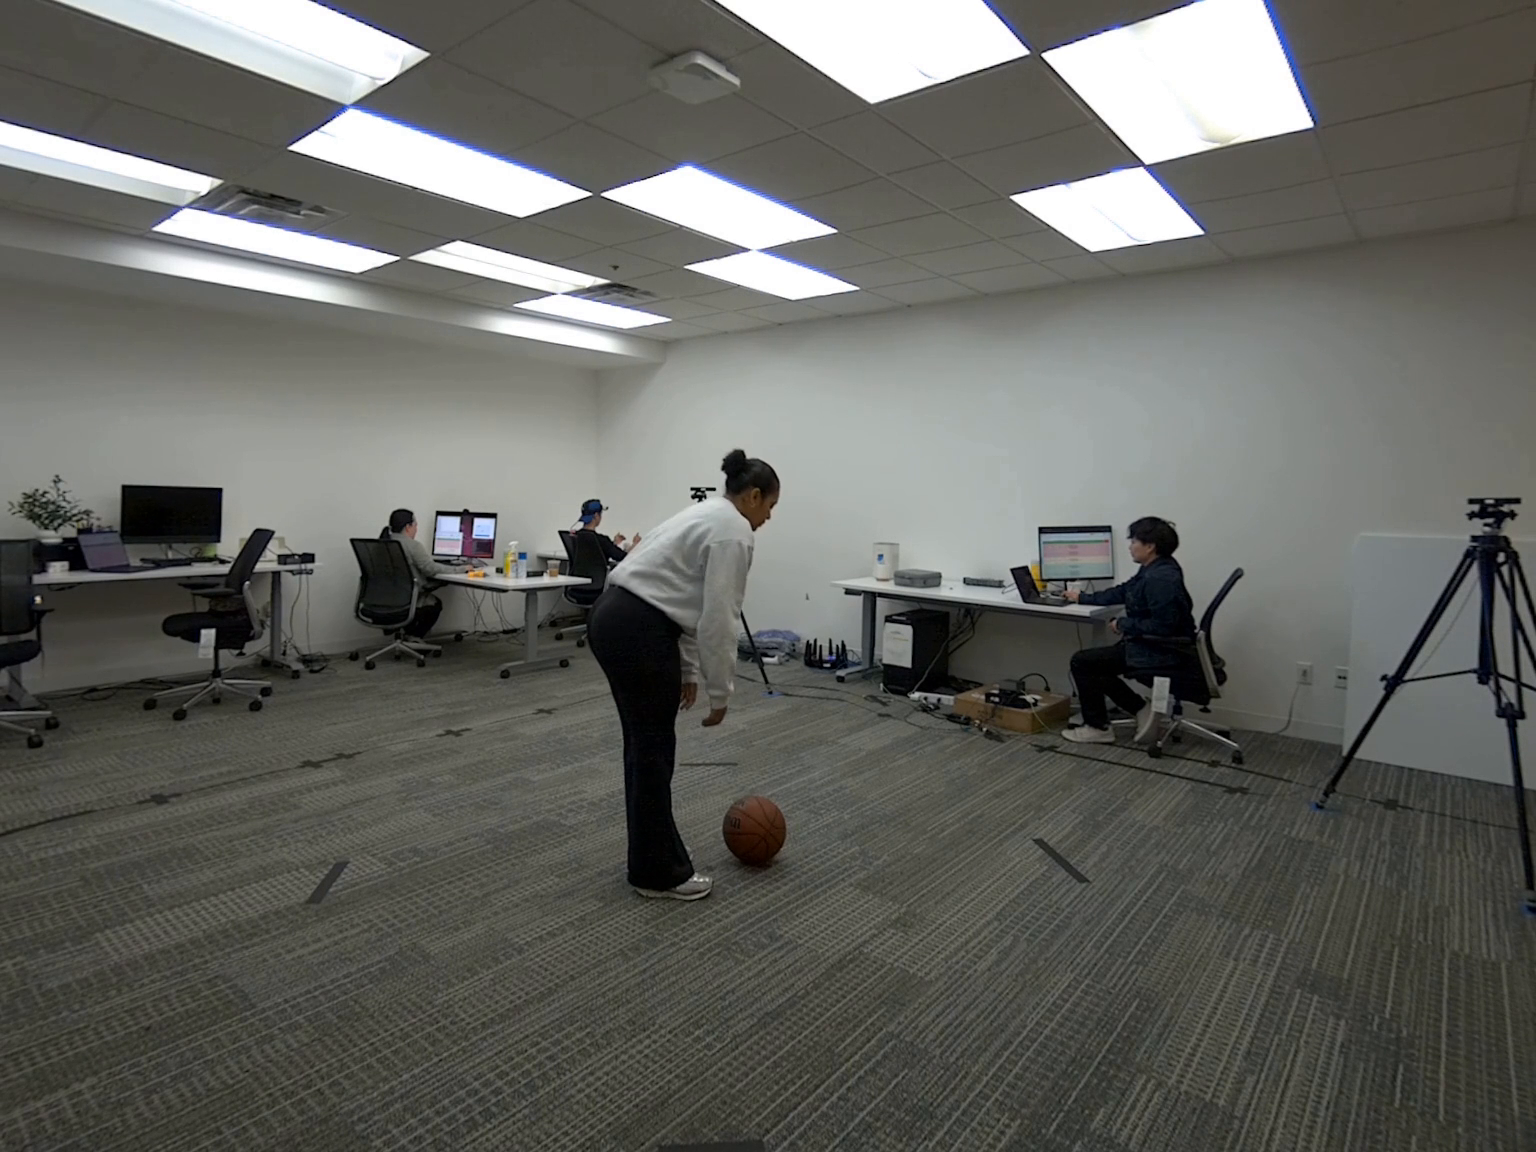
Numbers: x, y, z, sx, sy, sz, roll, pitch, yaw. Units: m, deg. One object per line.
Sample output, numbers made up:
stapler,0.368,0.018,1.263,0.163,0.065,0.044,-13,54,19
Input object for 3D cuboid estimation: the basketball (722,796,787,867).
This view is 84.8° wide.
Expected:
basketball,-0.062,0.940,3.174,0.235,0.235,0.237,1,4,-2
